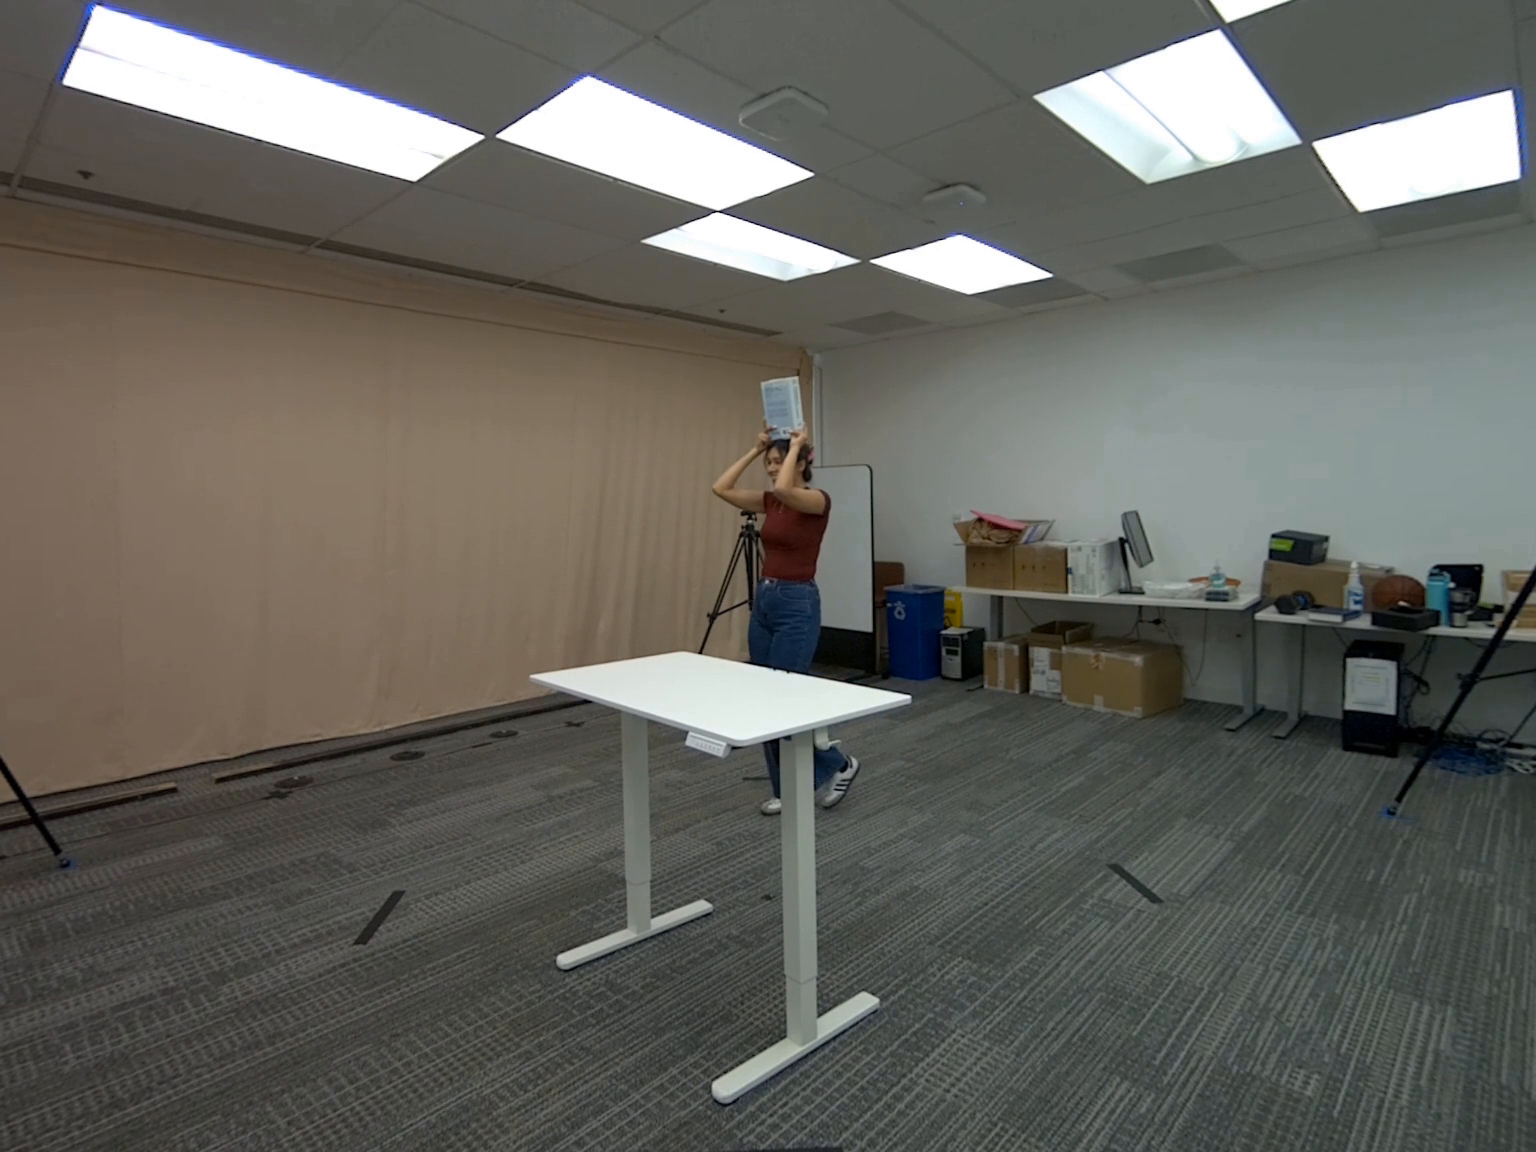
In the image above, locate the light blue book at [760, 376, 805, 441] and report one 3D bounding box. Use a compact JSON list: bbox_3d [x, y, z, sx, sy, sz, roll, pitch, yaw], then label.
[{"bbox_3d":[0.069,-0.741,3.740,0.057,0.259,0.198,-17,15,-39],"label":"light blue book"}]
